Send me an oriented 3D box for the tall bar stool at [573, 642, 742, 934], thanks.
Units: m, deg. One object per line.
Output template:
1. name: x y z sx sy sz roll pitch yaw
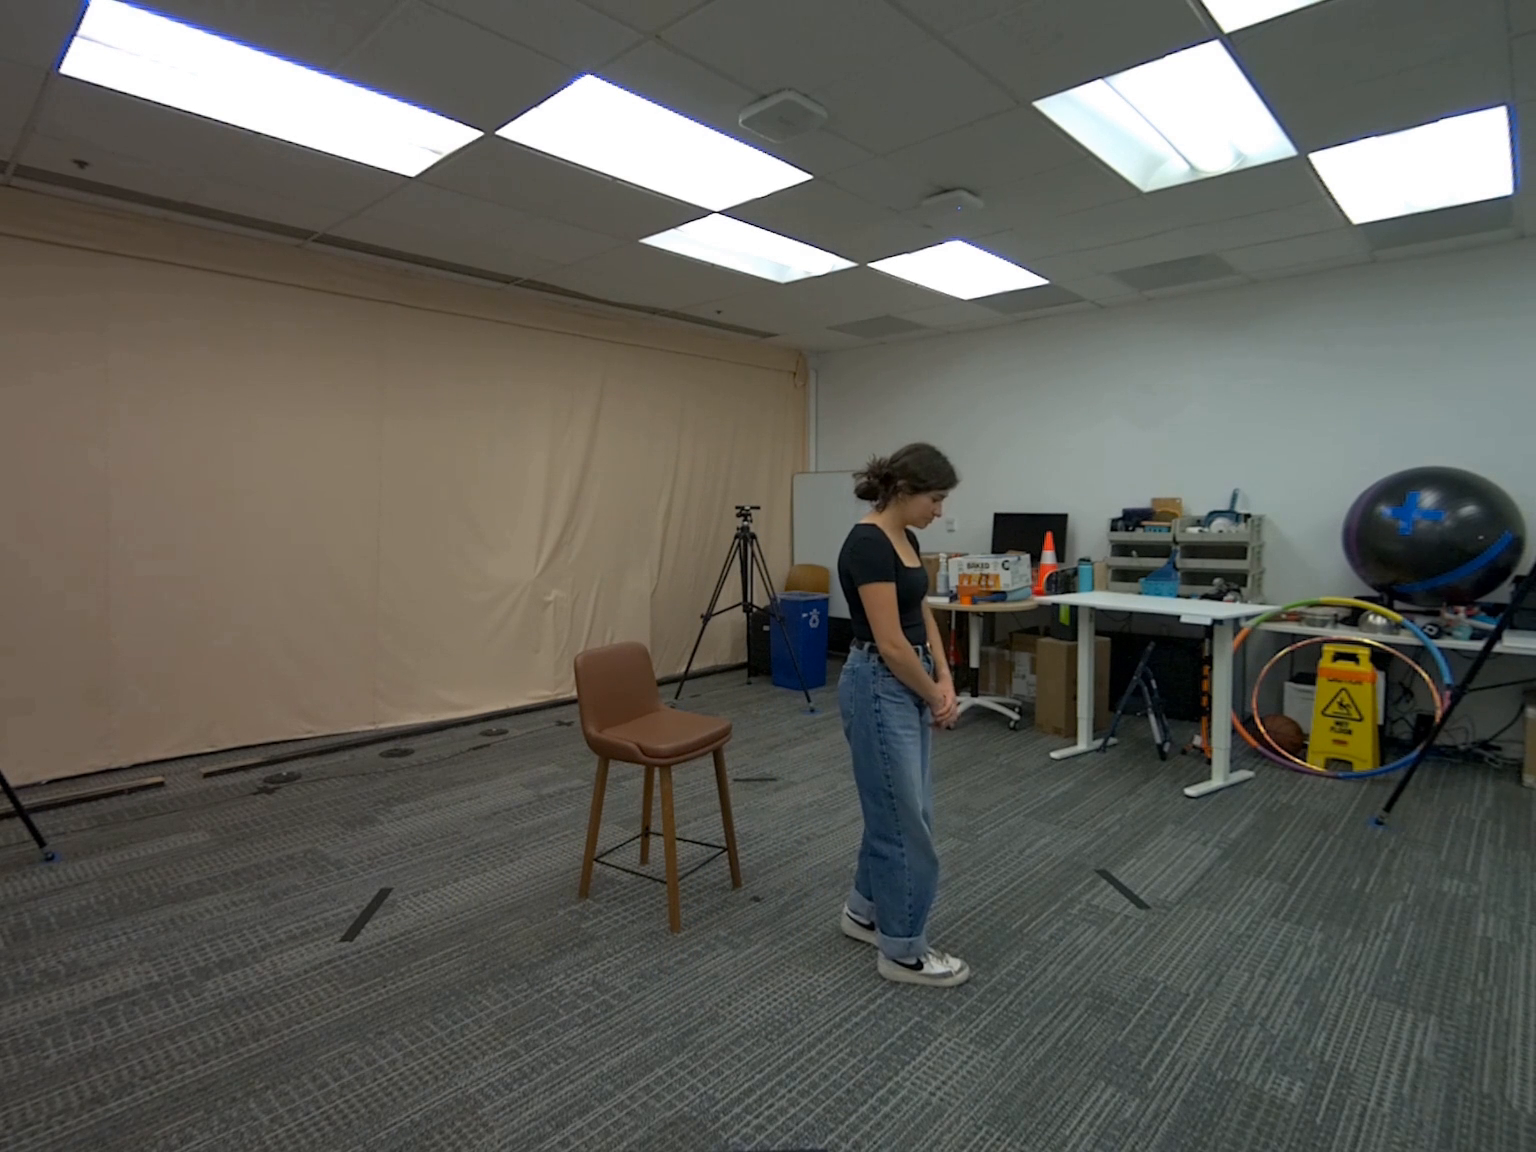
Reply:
1. tall bar stool: -0.398 0.709 3.018 0.481 0.888 0.444 0 3 33
